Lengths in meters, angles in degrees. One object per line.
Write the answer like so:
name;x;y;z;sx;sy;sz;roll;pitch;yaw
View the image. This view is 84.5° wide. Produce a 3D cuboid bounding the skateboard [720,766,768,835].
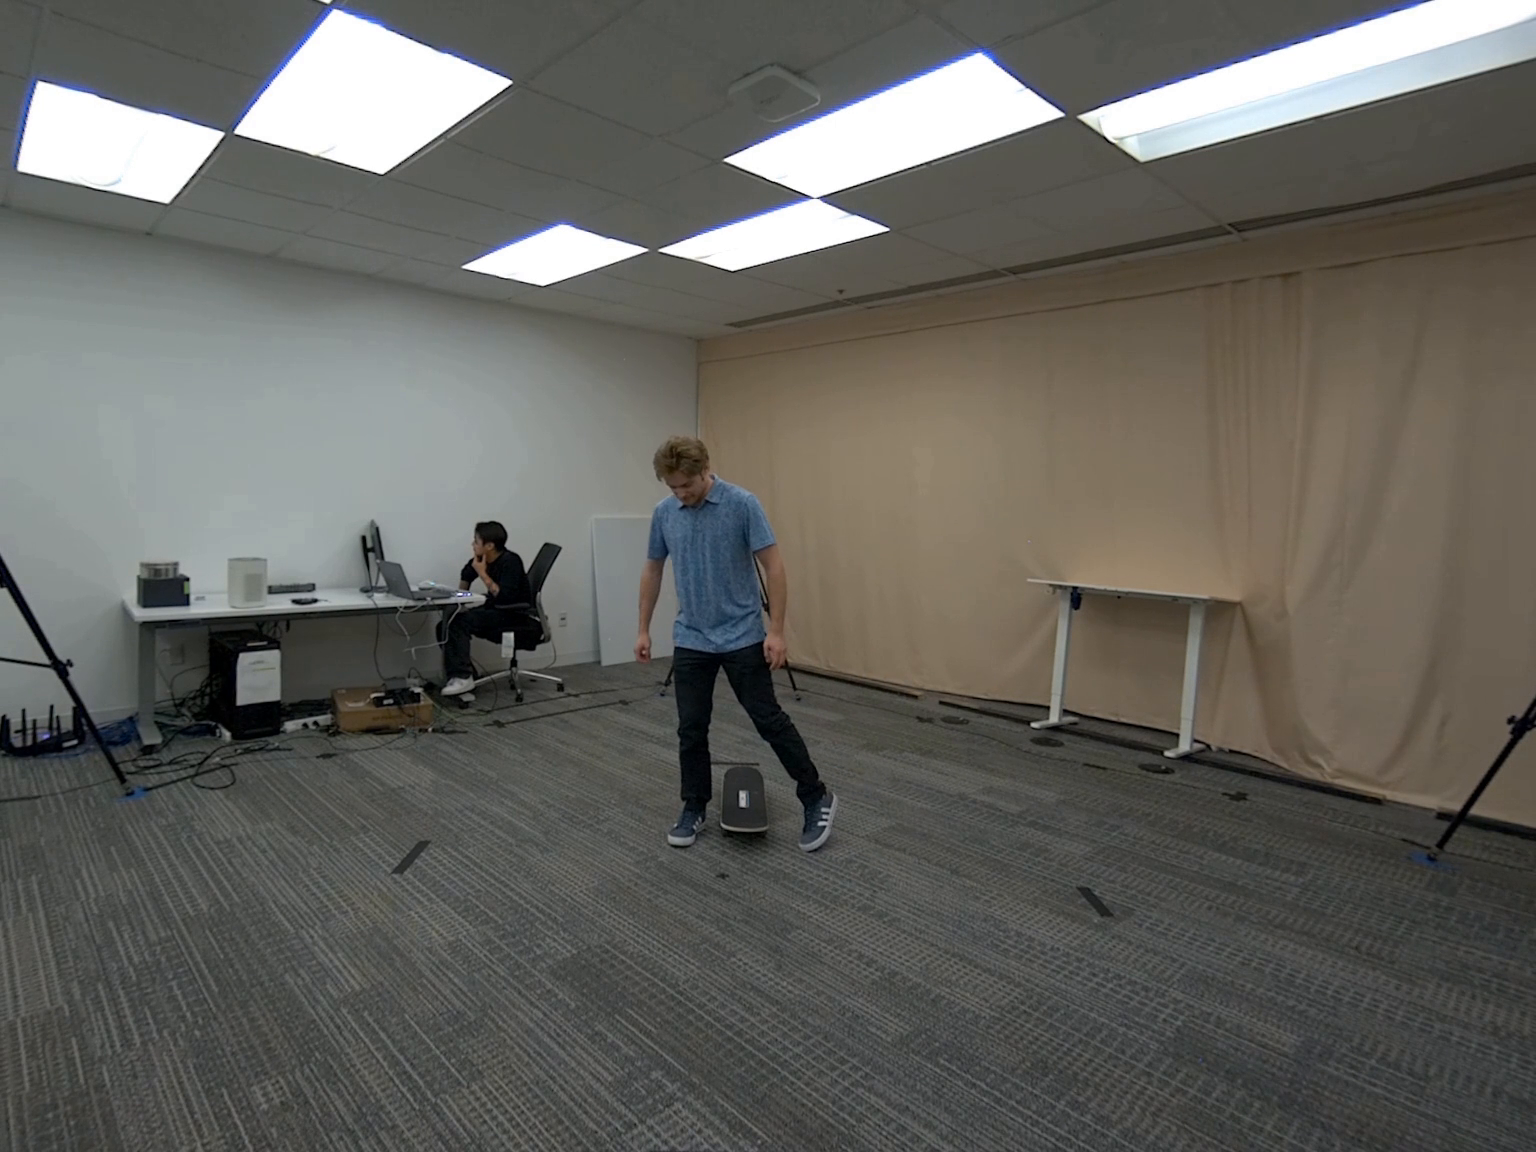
skateboard;-0.112;1.000;3.671;0.193;0.110;0.788;1;5;-2
